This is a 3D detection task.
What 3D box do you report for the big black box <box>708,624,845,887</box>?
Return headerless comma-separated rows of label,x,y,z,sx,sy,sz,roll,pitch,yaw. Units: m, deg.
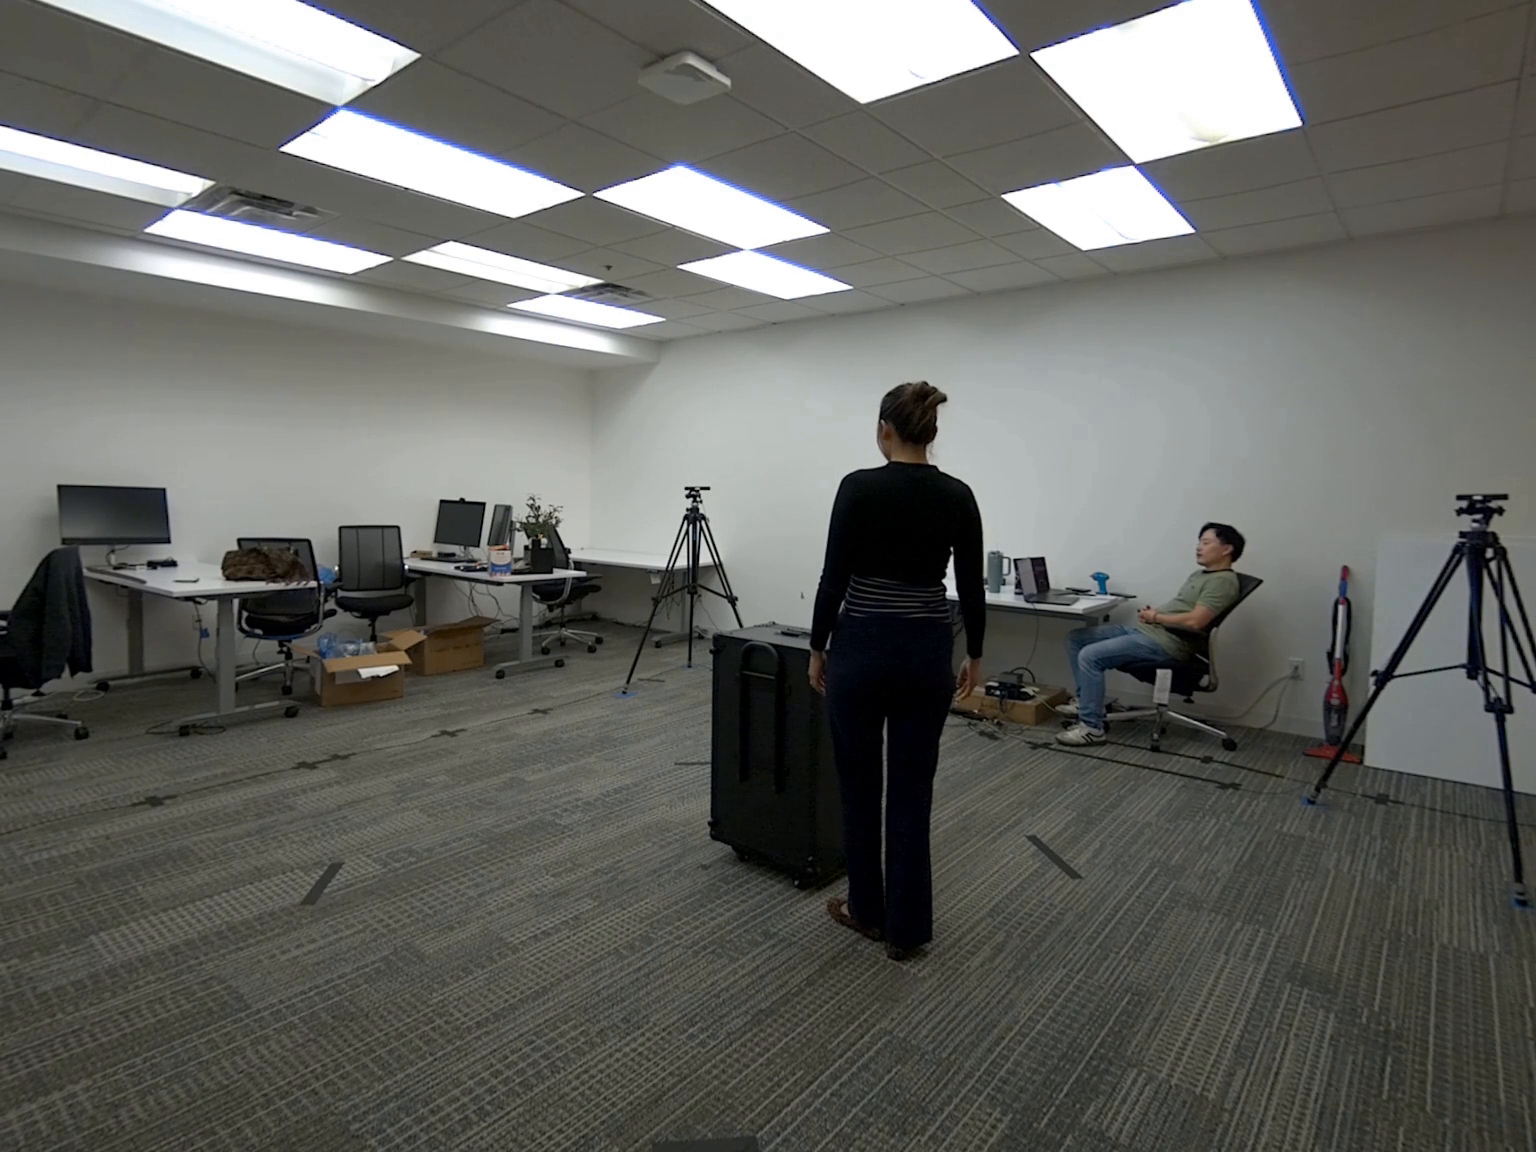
big black box,0.064,0.585,3.145,0.539,0.859,0.384,4,5,40
